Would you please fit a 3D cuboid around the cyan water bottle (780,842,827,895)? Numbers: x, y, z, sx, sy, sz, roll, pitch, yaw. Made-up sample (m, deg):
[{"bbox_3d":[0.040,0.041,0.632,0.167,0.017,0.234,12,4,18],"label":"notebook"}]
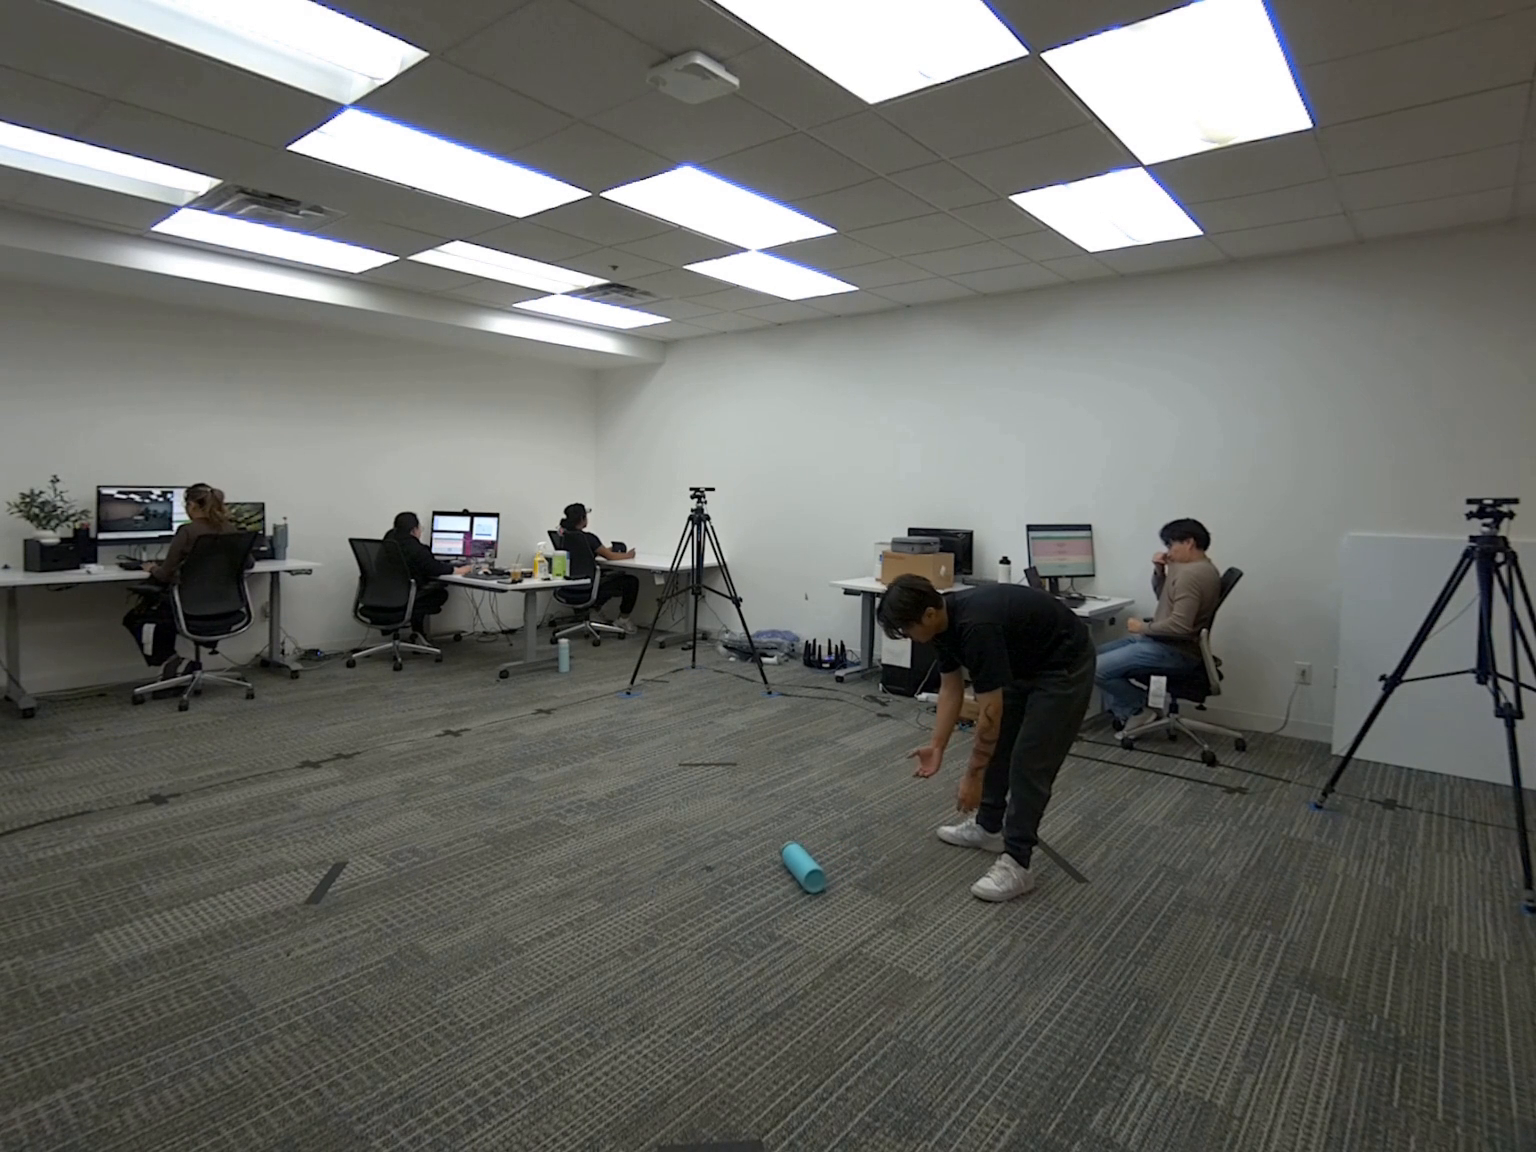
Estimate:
[{"bbox_3d":[0.114,1.030,3.060,0.091,0.092,0.289,0,5,-17],"label":"cyan water bottle"}]
